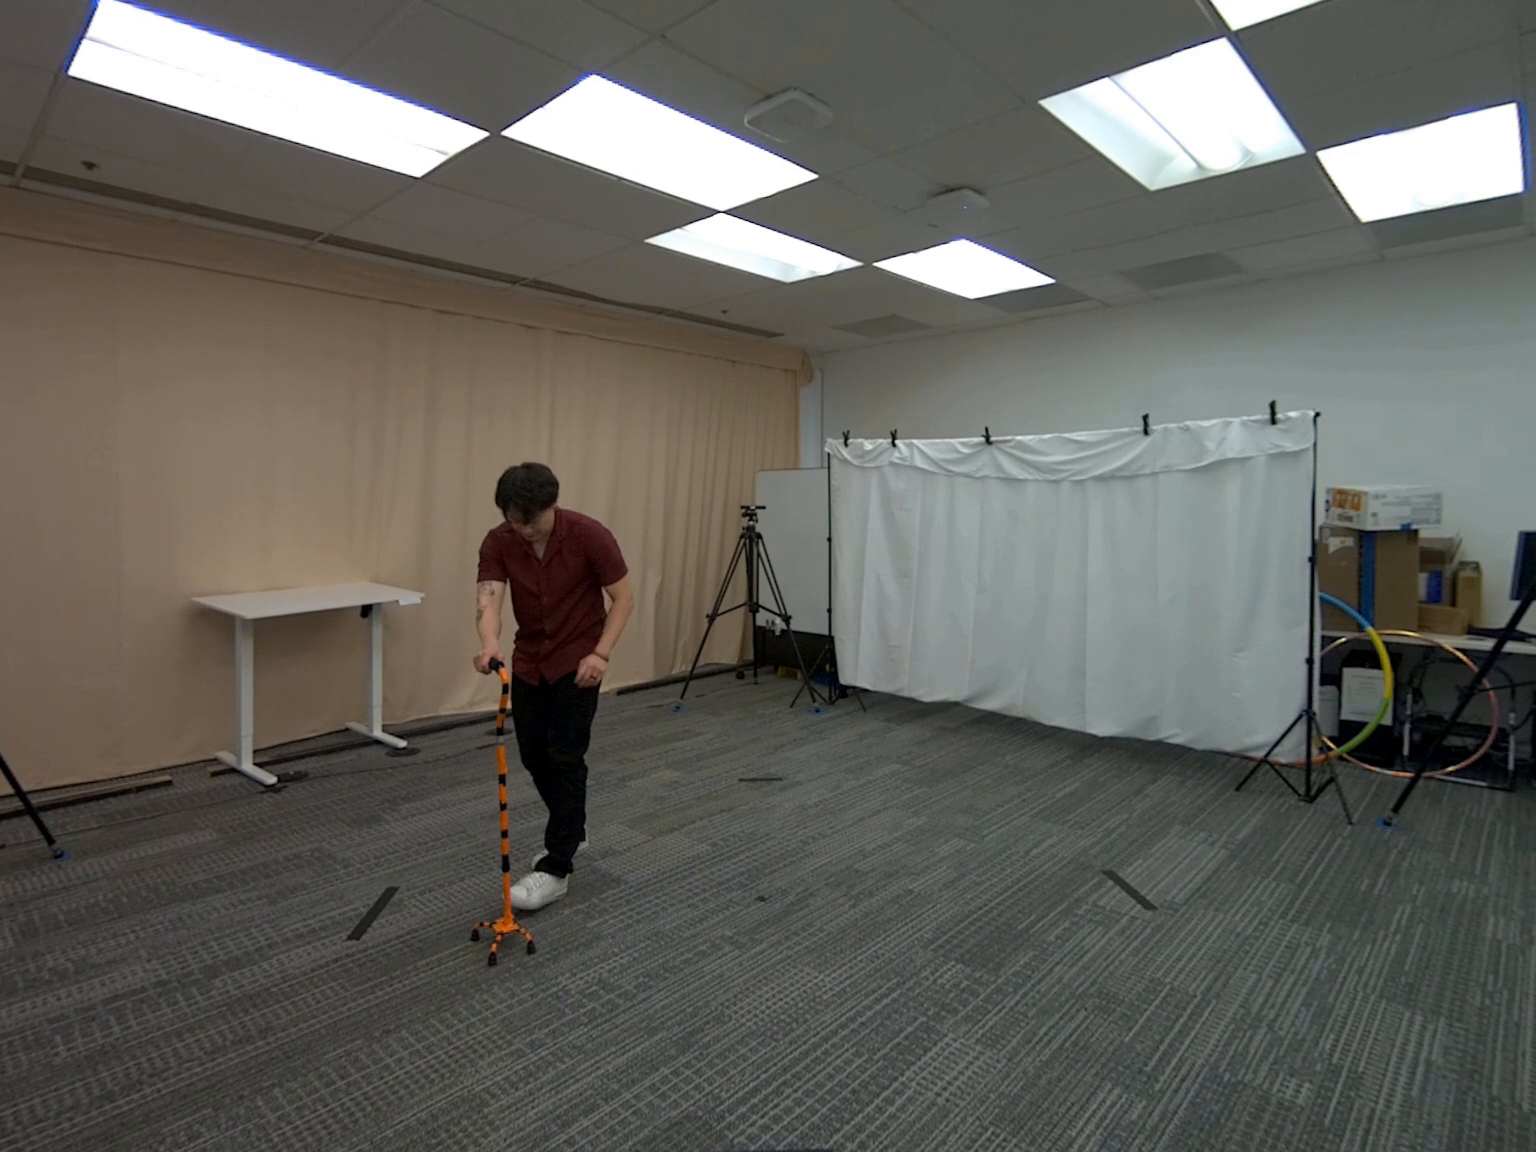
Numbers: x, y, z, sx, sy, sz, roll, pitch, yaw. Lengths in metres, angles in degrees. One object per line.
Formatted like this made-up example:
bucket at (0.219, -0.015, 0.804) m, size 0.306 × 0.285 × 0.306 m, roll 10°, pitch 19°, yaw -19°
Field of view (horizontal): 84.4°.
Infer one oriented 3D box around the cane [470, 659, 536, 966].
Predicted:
cane at (-0.849, 0.717, 2.656) m, size 0.147 × 0.906 × 0.213 m, roll -4°, pitch 4°, yaw -35°
